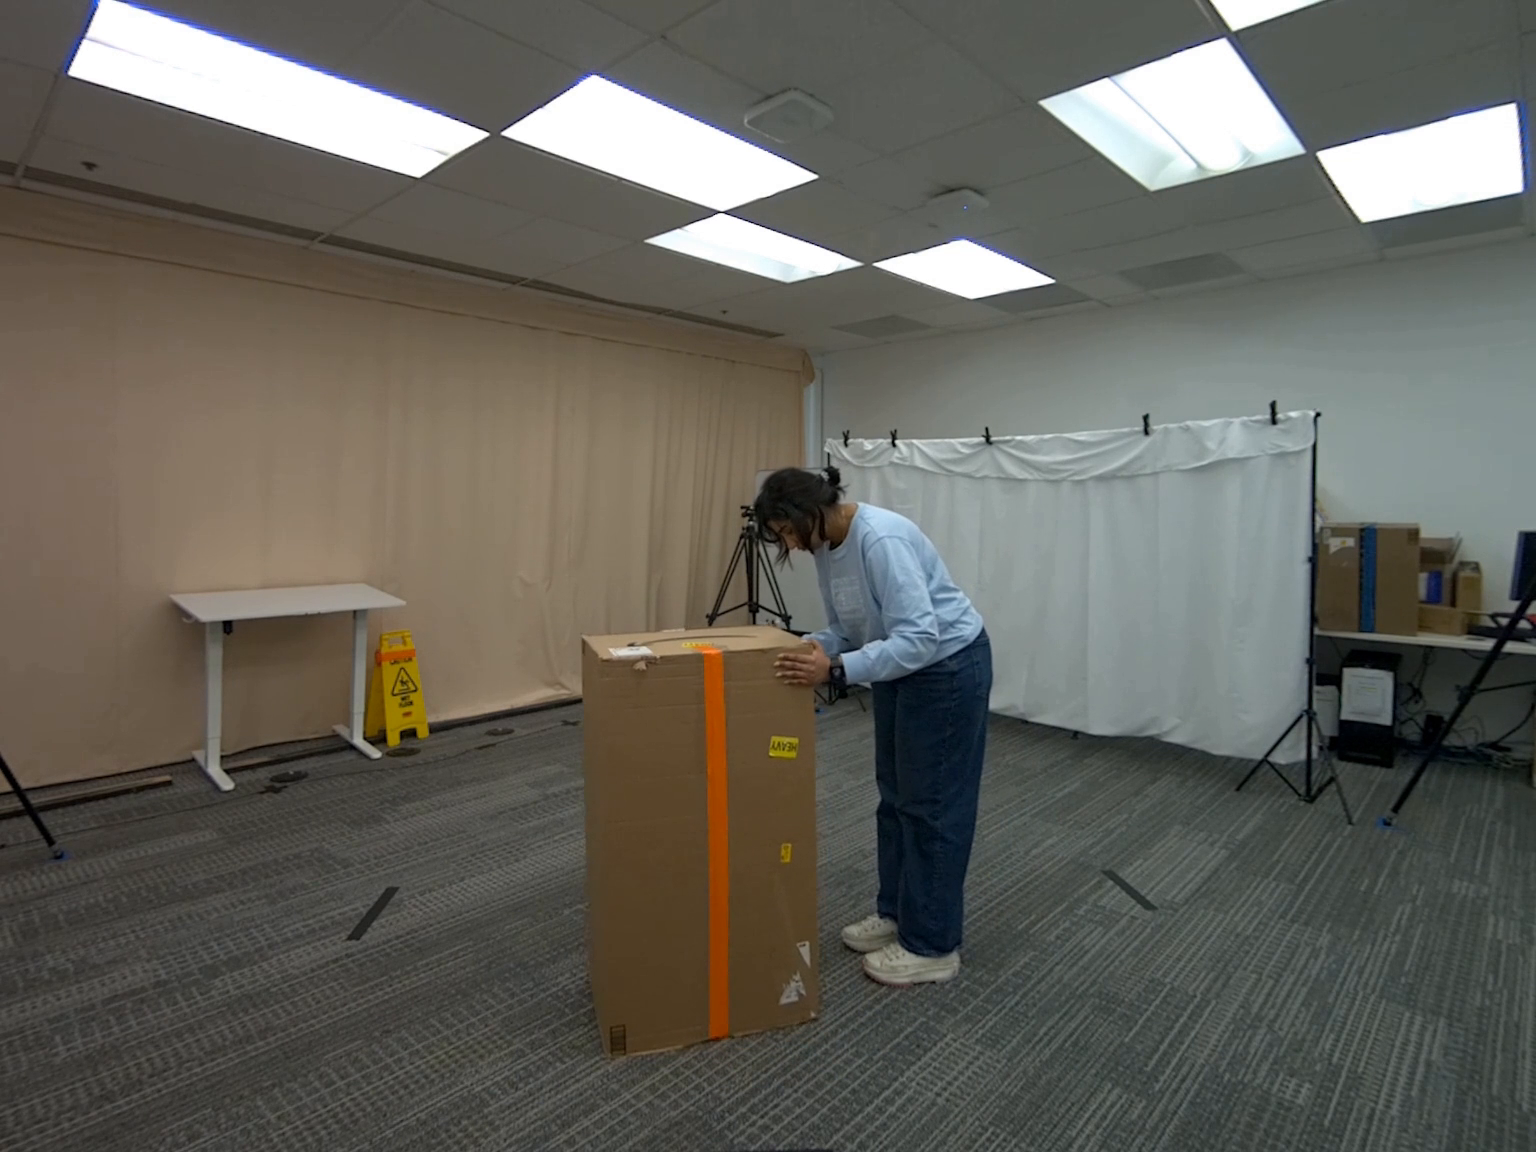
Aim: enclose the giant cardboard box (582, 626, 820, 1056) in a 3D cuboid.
[{"bbox_3d":[-0.206,0.692,2.372,0.567,1.024,0.435,-2,3,-18],"label":"giant cardboard box"}]
